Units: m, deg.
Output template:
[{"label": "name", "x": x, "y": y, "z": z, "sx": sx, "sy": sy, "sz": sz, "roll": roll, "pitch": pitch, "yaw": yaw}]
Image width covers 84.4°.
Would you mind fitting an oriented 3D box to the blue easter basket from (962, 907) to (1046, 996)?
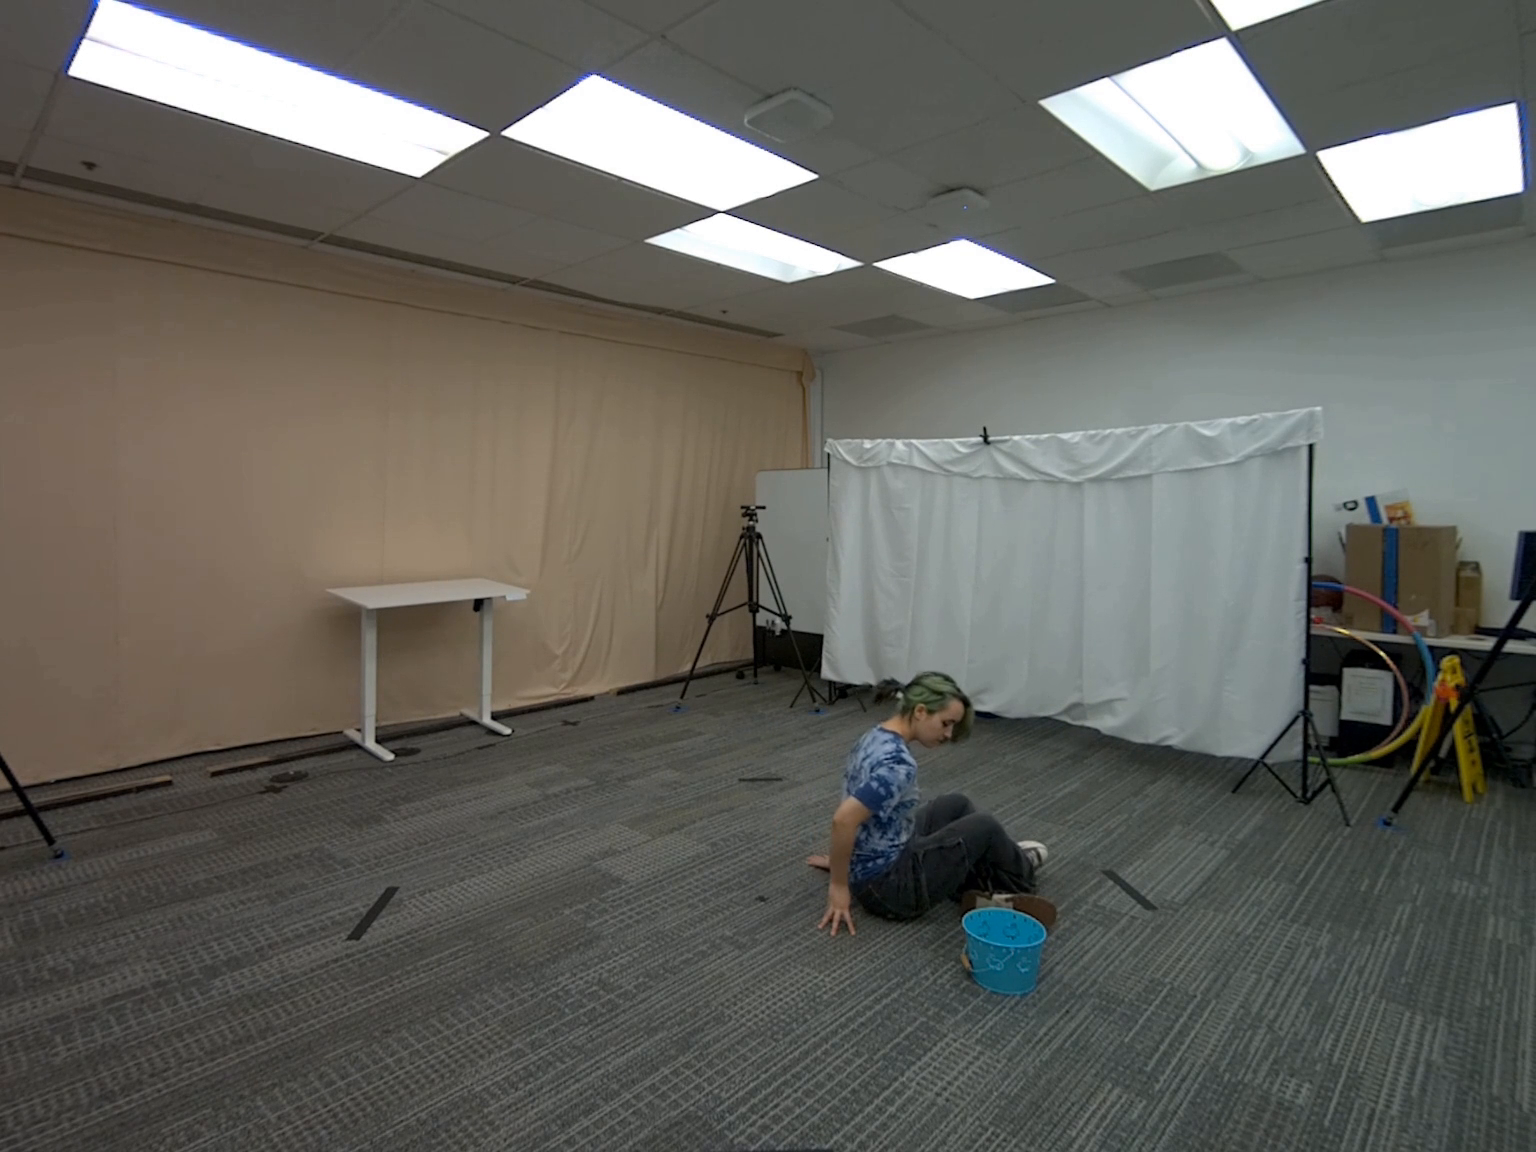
[{"label": "blue easter basket", "x": 0.696, "y": 1.098, "z": 2.482, "sx": 0.243, "sy": 0.155, "sz": 0.244, "roll": 0, "pitch": 4, "yaw": -2}]
